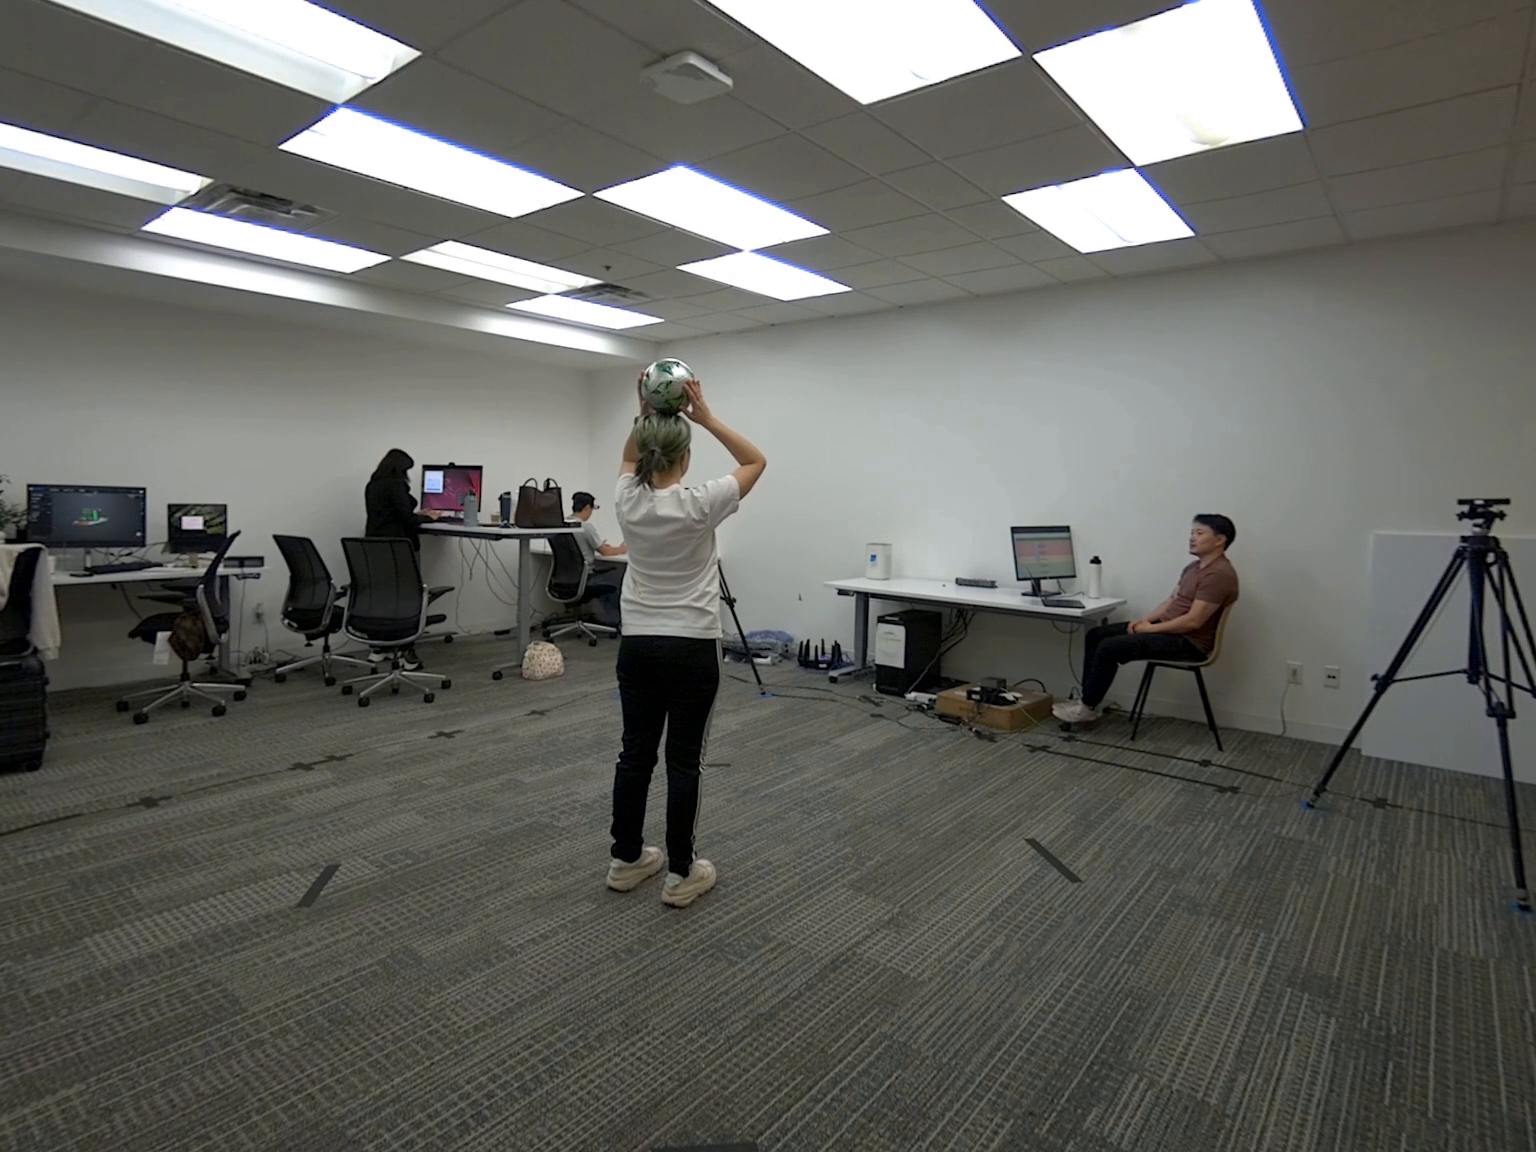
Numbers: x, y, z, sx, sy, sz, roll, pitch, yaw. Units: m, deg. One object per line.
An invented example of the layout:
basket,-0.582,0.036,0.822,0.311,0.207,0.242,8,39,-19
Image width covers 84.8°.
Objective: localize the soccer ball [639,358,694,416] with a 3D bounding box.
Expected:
soccer ball,-0.352,-0.644,2.887,0.187,0.187,0.188,1,4,-2
